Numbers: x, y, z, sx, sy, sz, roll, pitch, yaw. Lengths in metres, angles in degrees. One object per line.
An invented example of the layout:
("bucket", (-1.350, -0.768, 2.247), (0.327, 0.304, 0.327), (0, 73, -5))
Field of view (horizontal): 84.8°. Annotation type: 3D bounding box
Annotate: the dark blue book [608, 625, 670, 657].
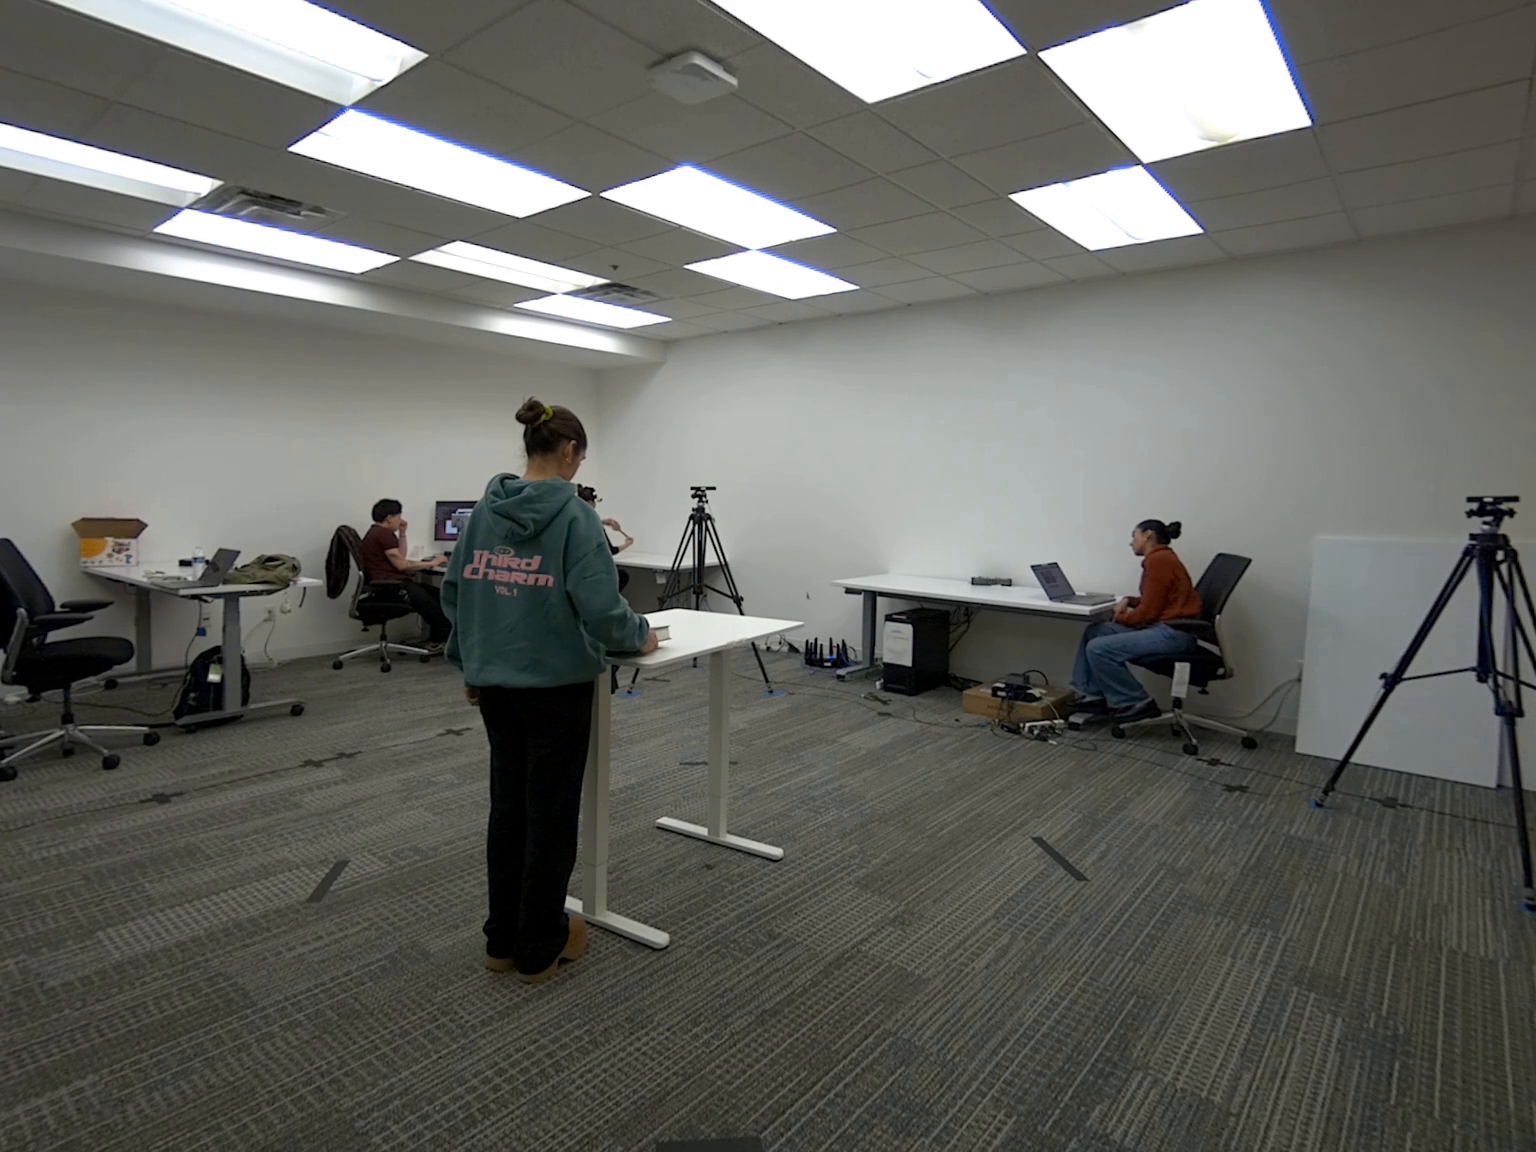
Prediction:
("dark blue book", (-0.449, 0.197, 2.621), (0.167, 0.045, 0.239), (-7, 1, 30))
